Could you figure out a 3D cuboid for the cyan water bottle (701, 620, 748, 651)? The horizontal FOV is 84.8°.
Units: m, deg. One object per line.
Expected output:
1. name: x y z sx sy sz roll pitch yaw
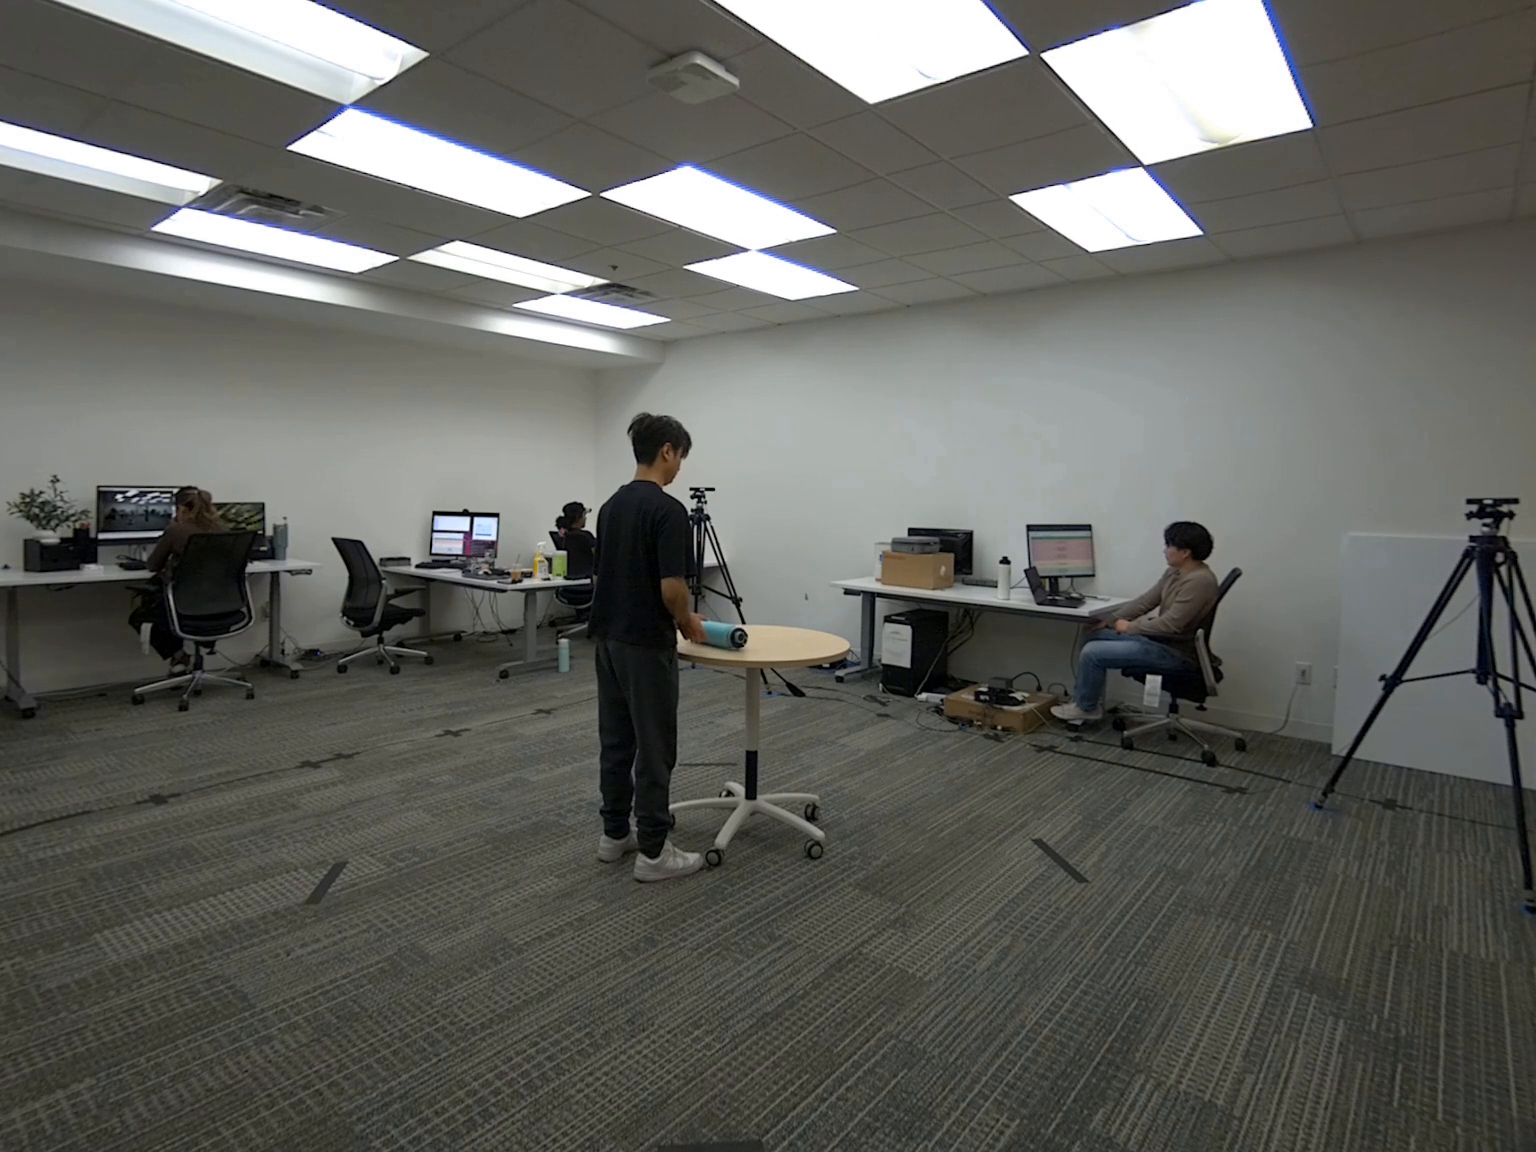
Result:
1. cyan water bottle: -0.206 0.222 3.288 0.293 0.092 0.089 6 7 45
